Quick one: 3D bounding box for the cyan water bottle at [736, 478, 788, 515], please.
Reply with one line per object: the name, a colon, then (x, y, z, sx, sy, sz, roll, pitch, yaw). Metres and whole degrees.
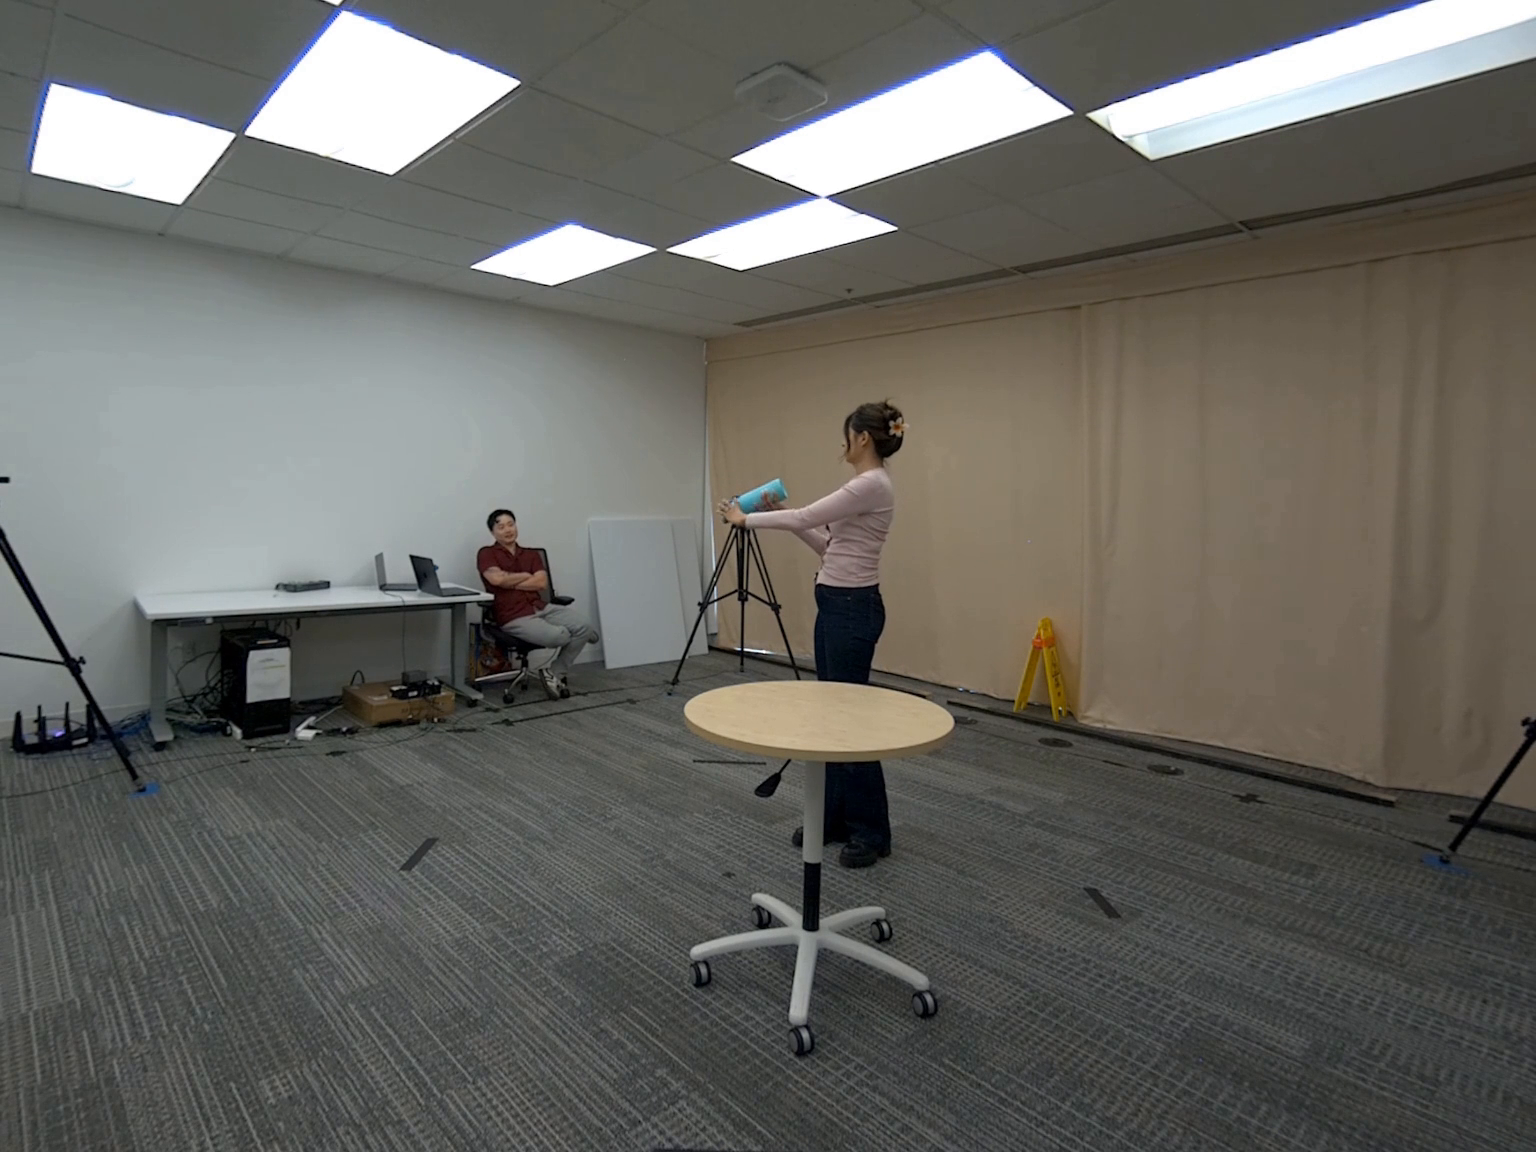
cyan water bottle: (-0.065, -0.299, 3.447, 0.285, 0.092, 0.092, -23, 0, 11)
